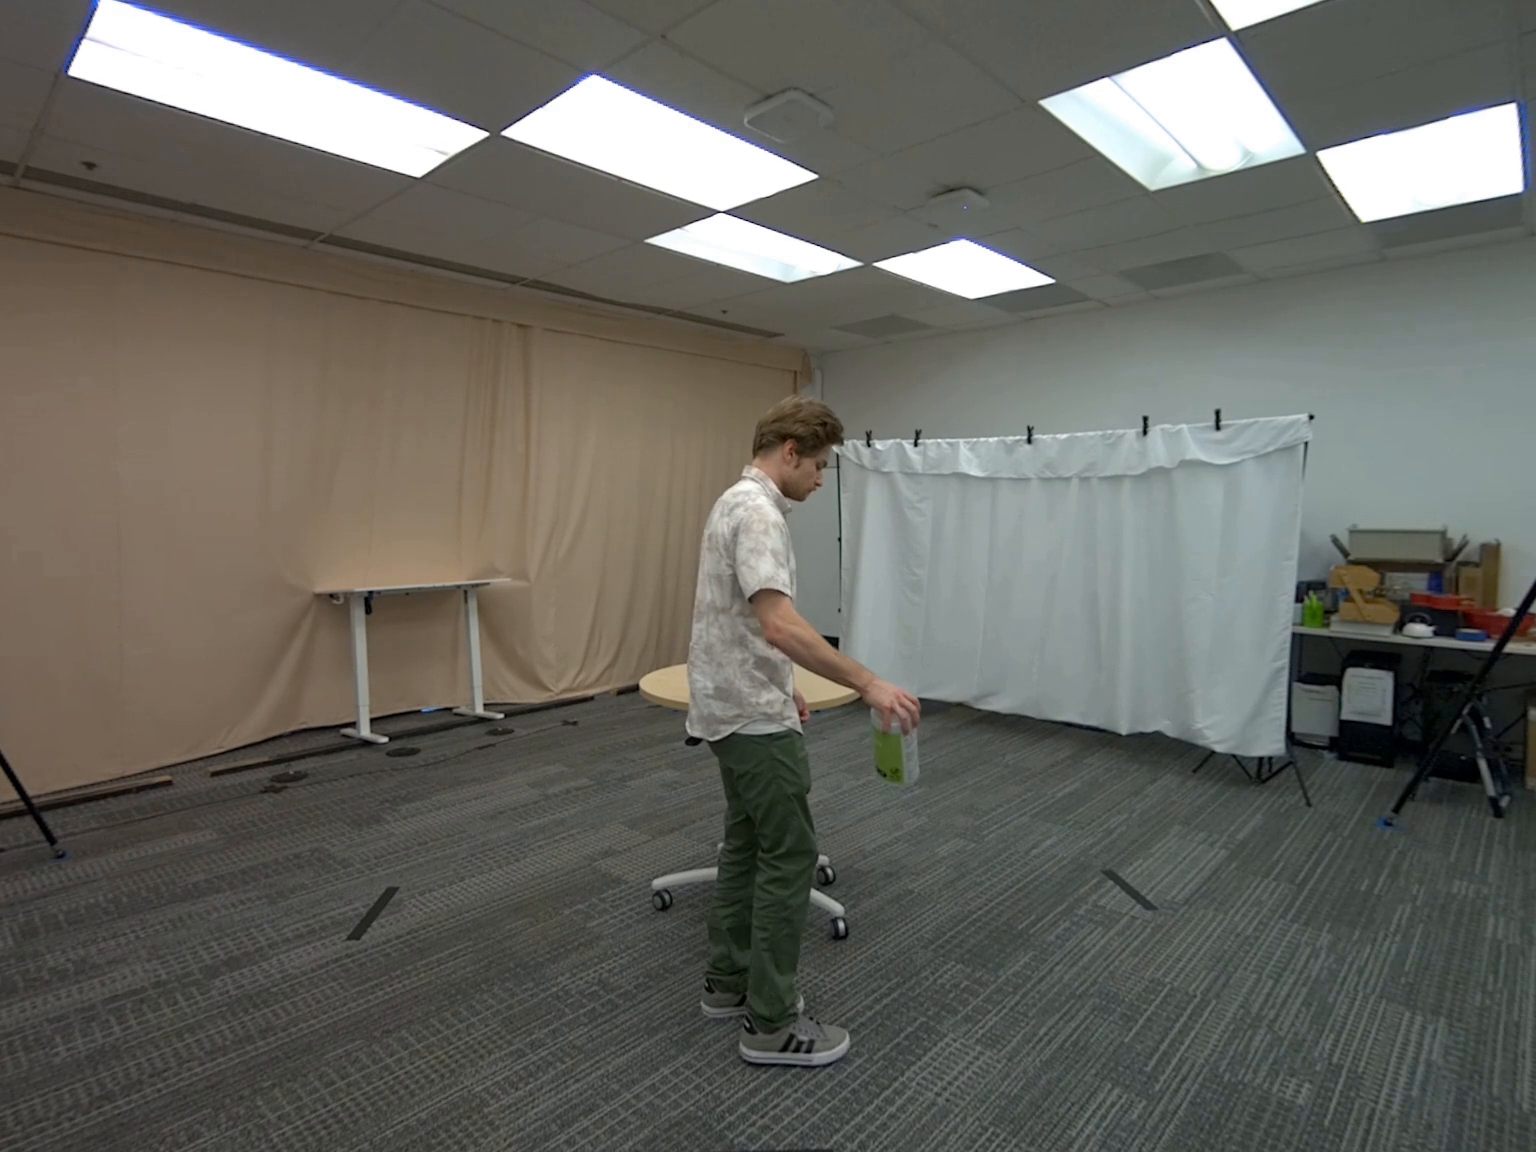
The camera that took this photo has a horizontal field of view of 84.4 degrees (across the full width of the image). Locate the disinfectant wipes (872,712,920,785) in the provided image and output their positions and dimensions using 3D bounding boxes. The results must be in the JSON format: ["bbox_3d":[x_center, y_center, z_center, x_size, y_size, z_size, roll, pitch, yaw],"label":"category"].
[{"bbox_3d":[0.329,0.420,2.111,0.118,0.213,0.119,-7,25,2],"label":"disinfectant wipes"}]
